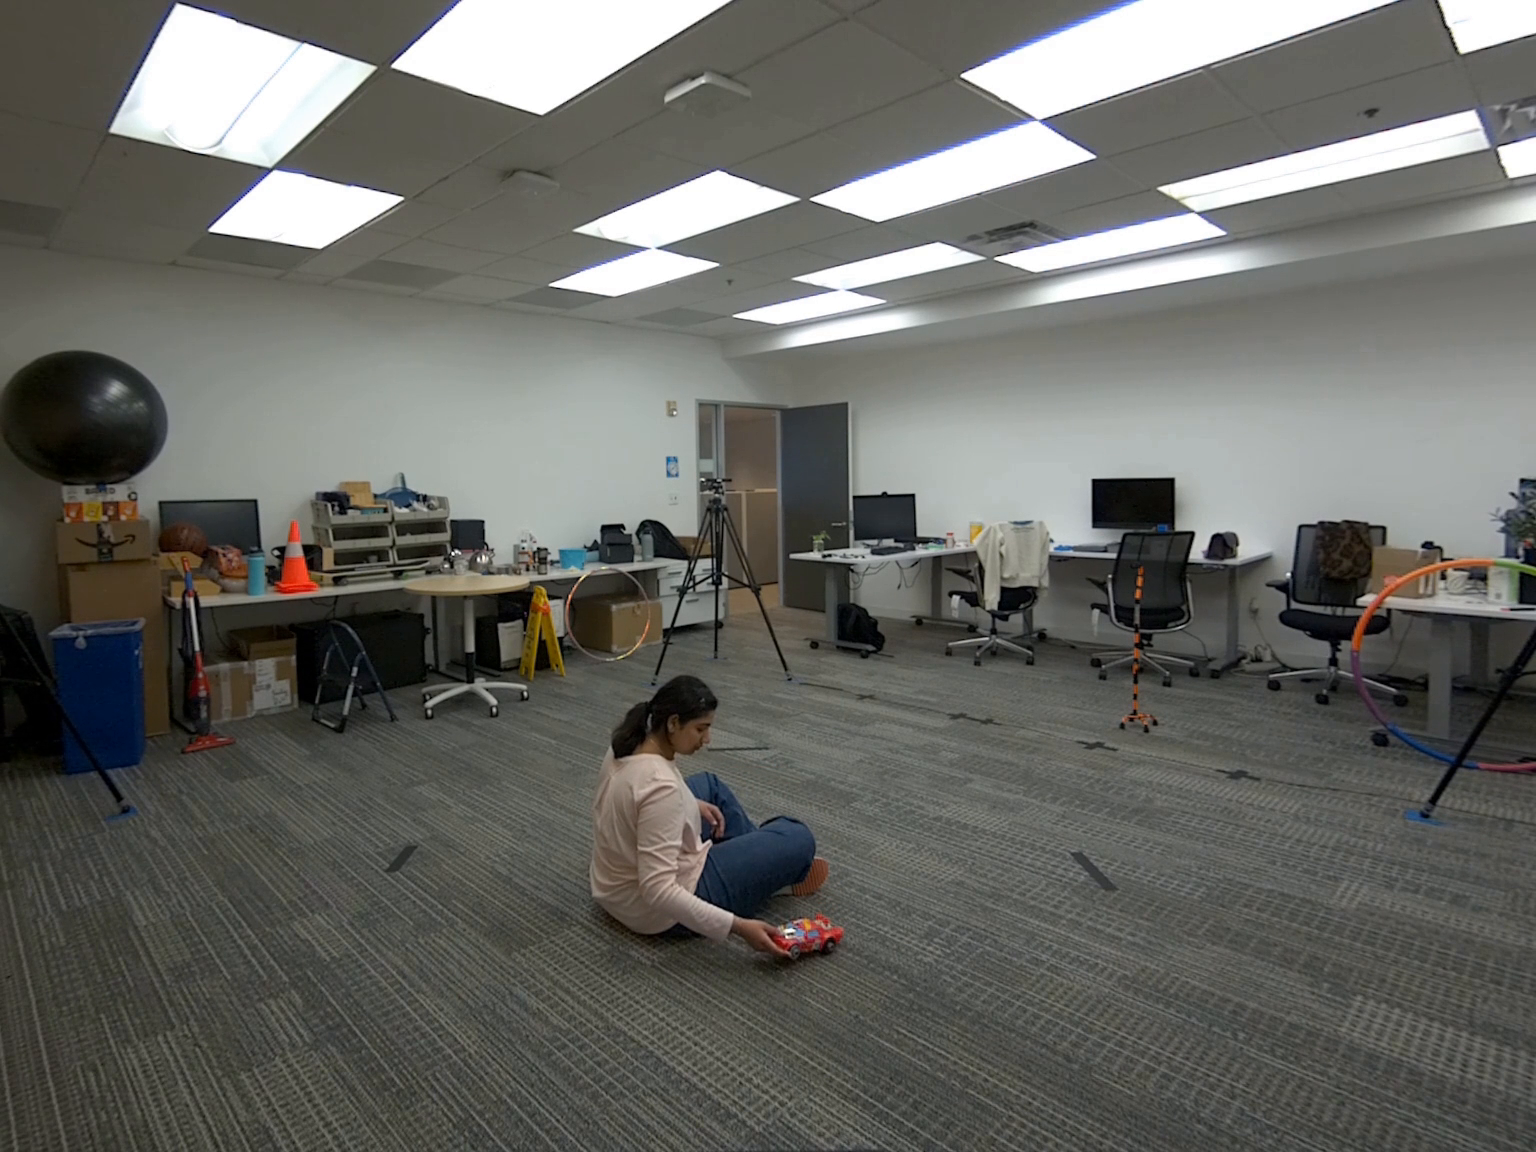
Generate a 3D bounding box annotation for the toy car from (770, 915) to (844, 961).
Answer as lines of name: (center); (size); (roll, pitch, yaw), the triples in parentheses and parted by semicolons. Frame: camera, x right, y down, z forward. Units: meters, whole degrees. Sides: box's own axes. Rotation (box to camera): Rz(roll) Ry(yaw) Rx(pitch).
toy car: (0.108, 1.061, 2.523); (0.247, 0.083, 0.134); (-2, 7, -39)
